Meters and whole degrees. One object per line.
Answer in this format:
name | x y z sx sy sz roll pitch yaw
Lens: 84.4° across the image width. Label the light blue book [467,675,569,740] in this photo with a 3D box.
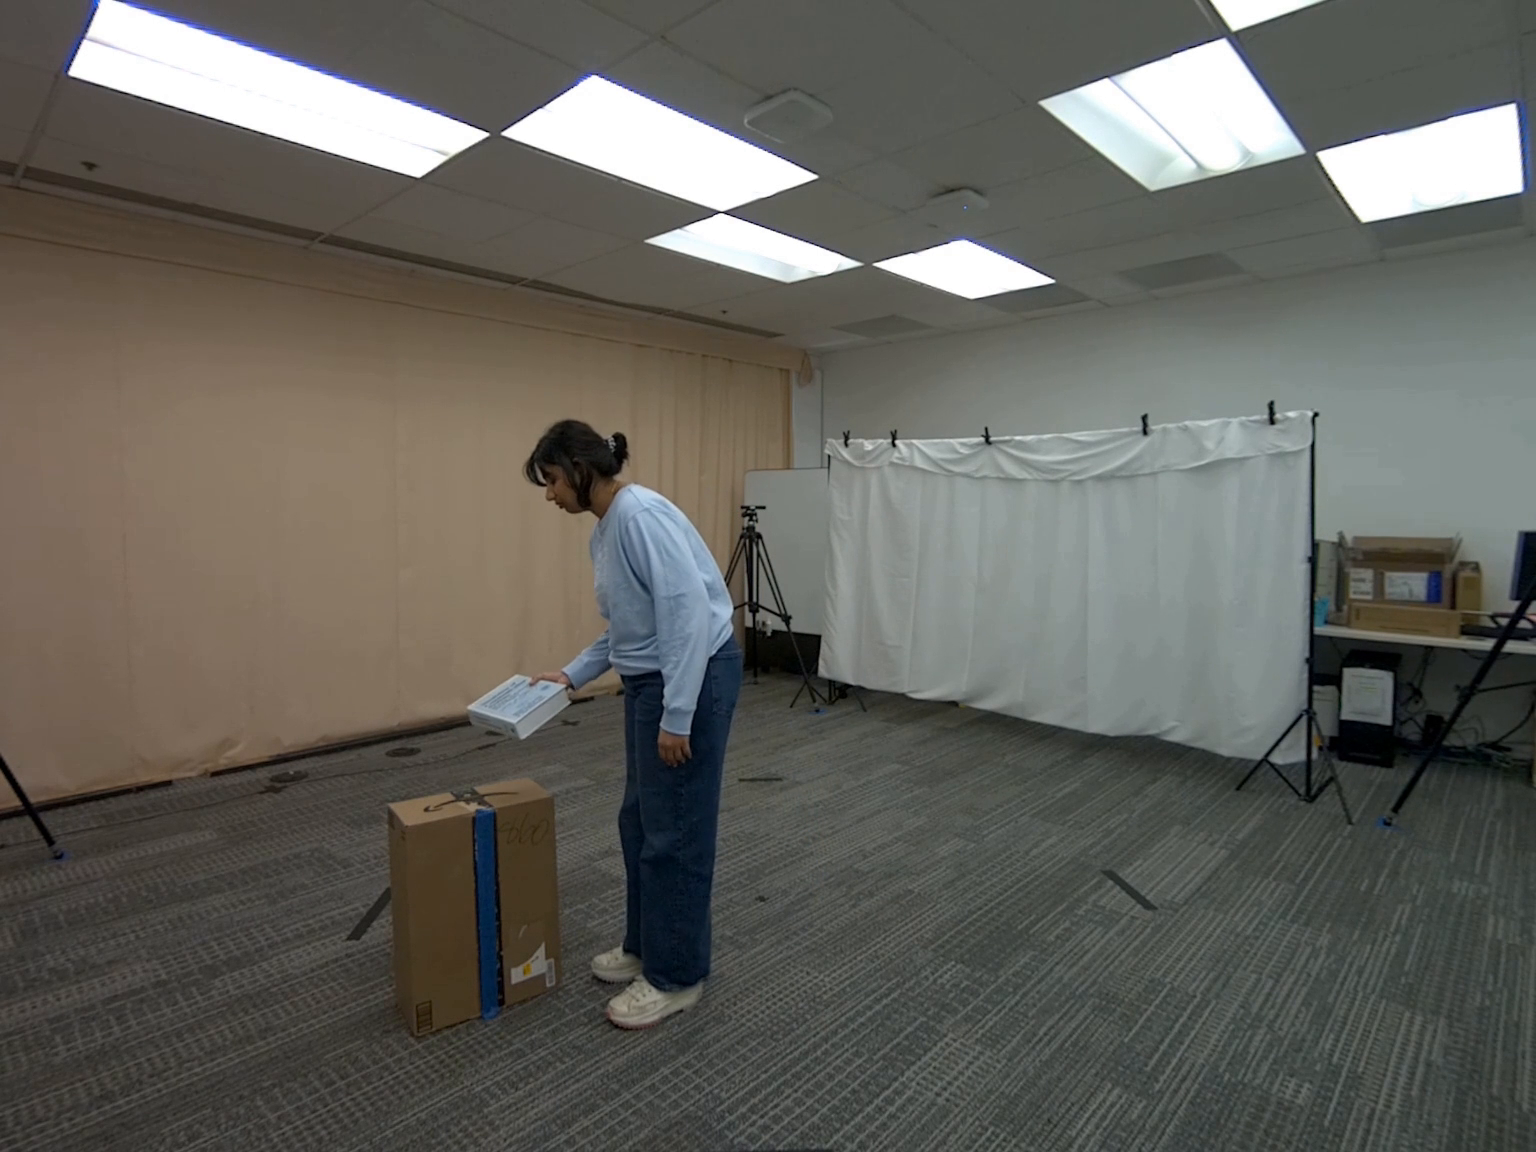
light blue book | -0.713 0.374 2.428 0.270 0.058 0.188 3 28 43
